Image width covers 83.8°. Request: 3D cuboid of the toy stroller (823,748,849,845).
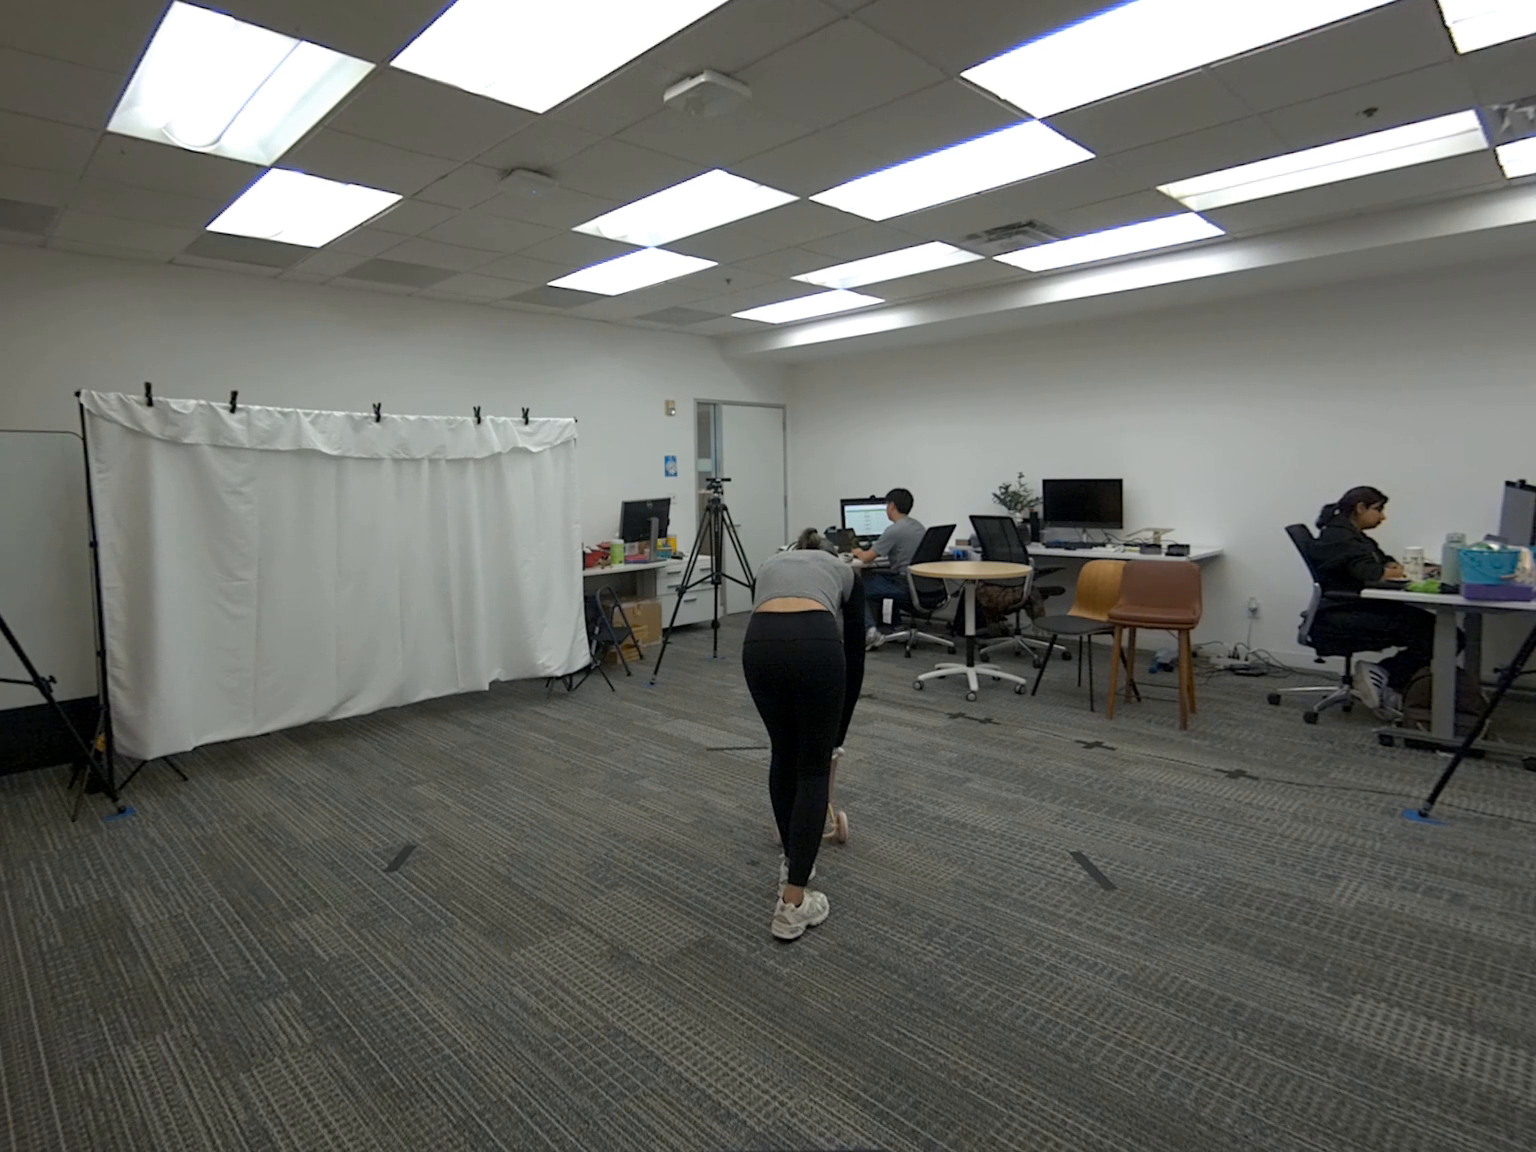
[{"bbox_3d":[0.162,0.793,3.323,0.281,0.526,0.348,0,21,-3],"label":"toy stroller"}]
